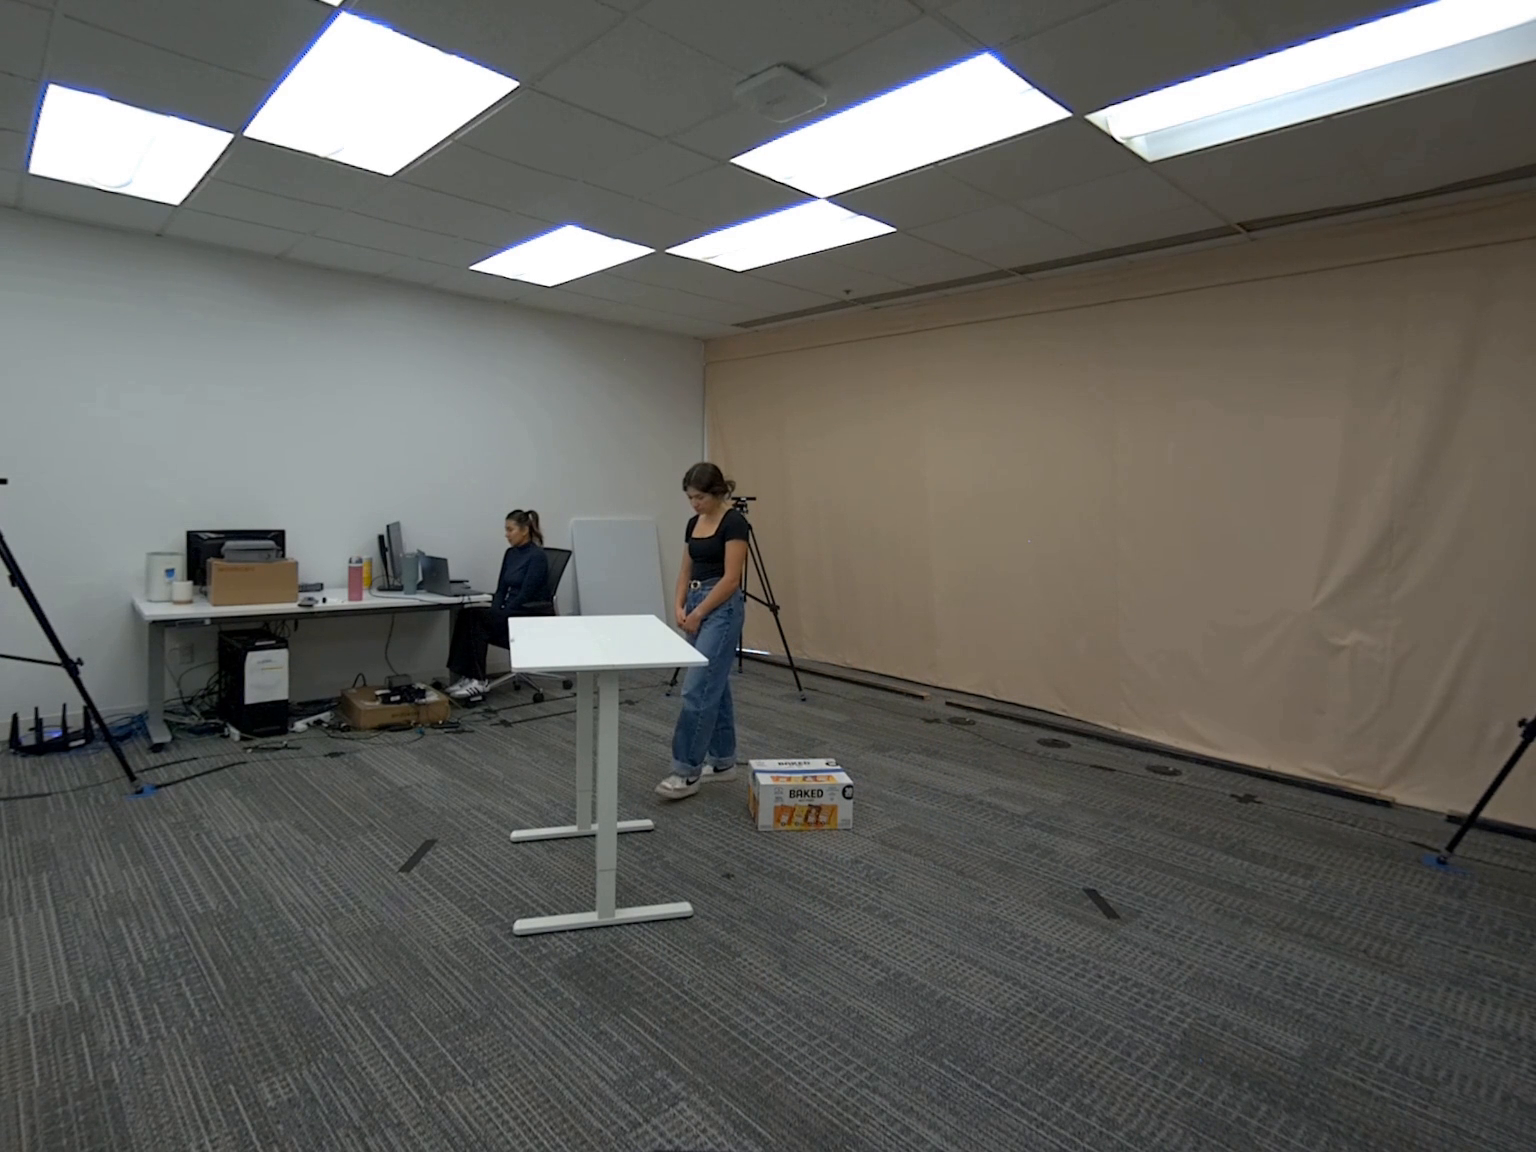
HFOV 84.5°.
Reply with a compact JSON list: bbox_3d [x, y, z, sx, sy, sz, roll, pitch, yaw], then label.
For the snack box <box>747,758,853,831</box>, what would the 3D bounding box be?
[{"bbox_3d":[0.125,0.960,3.718,0.402,0.205,0.343,1,4,-8],"label":"snack box"}]
